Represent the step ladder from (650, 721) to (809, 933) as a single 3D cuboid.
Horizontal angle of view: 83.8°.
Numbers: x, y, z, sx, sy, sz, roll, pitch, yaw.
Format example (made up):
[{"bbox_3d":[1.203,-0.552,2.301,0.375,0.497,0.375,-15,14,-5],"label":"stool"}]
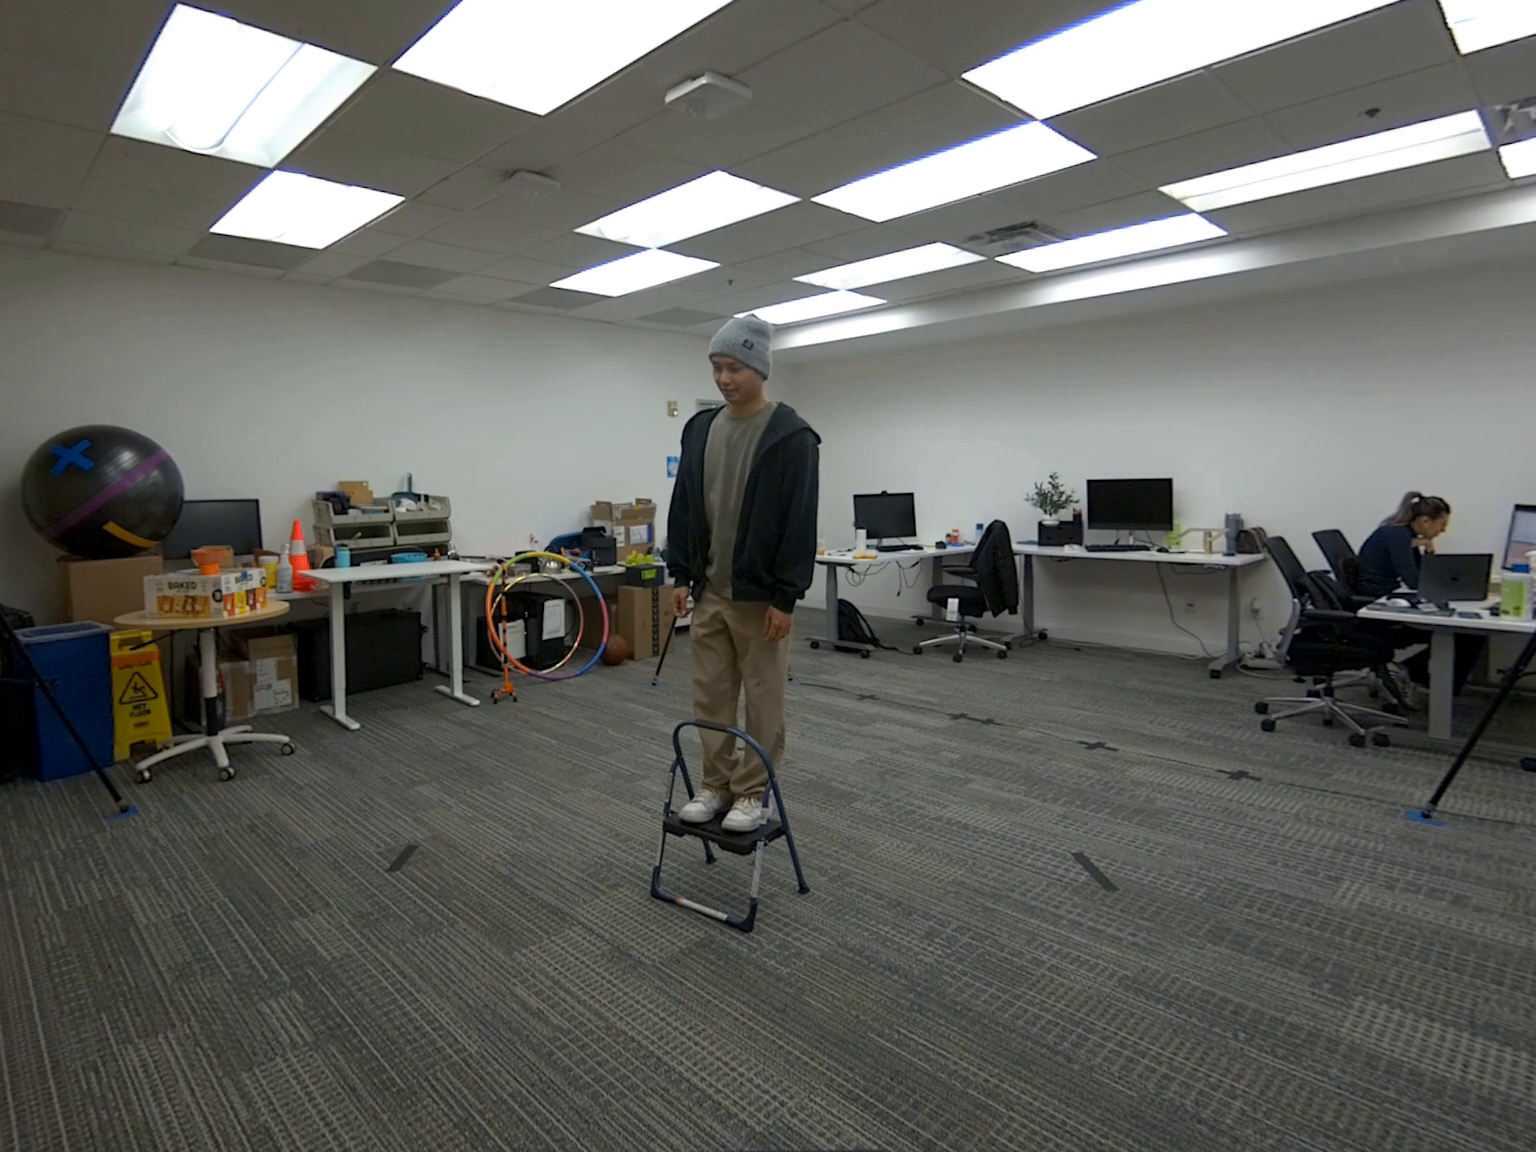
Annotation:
[{"bbox_3d":[-0.137,0.773,2.865,0.443,0.603,0.341,2,6,35],"label":"step ladder"}]
